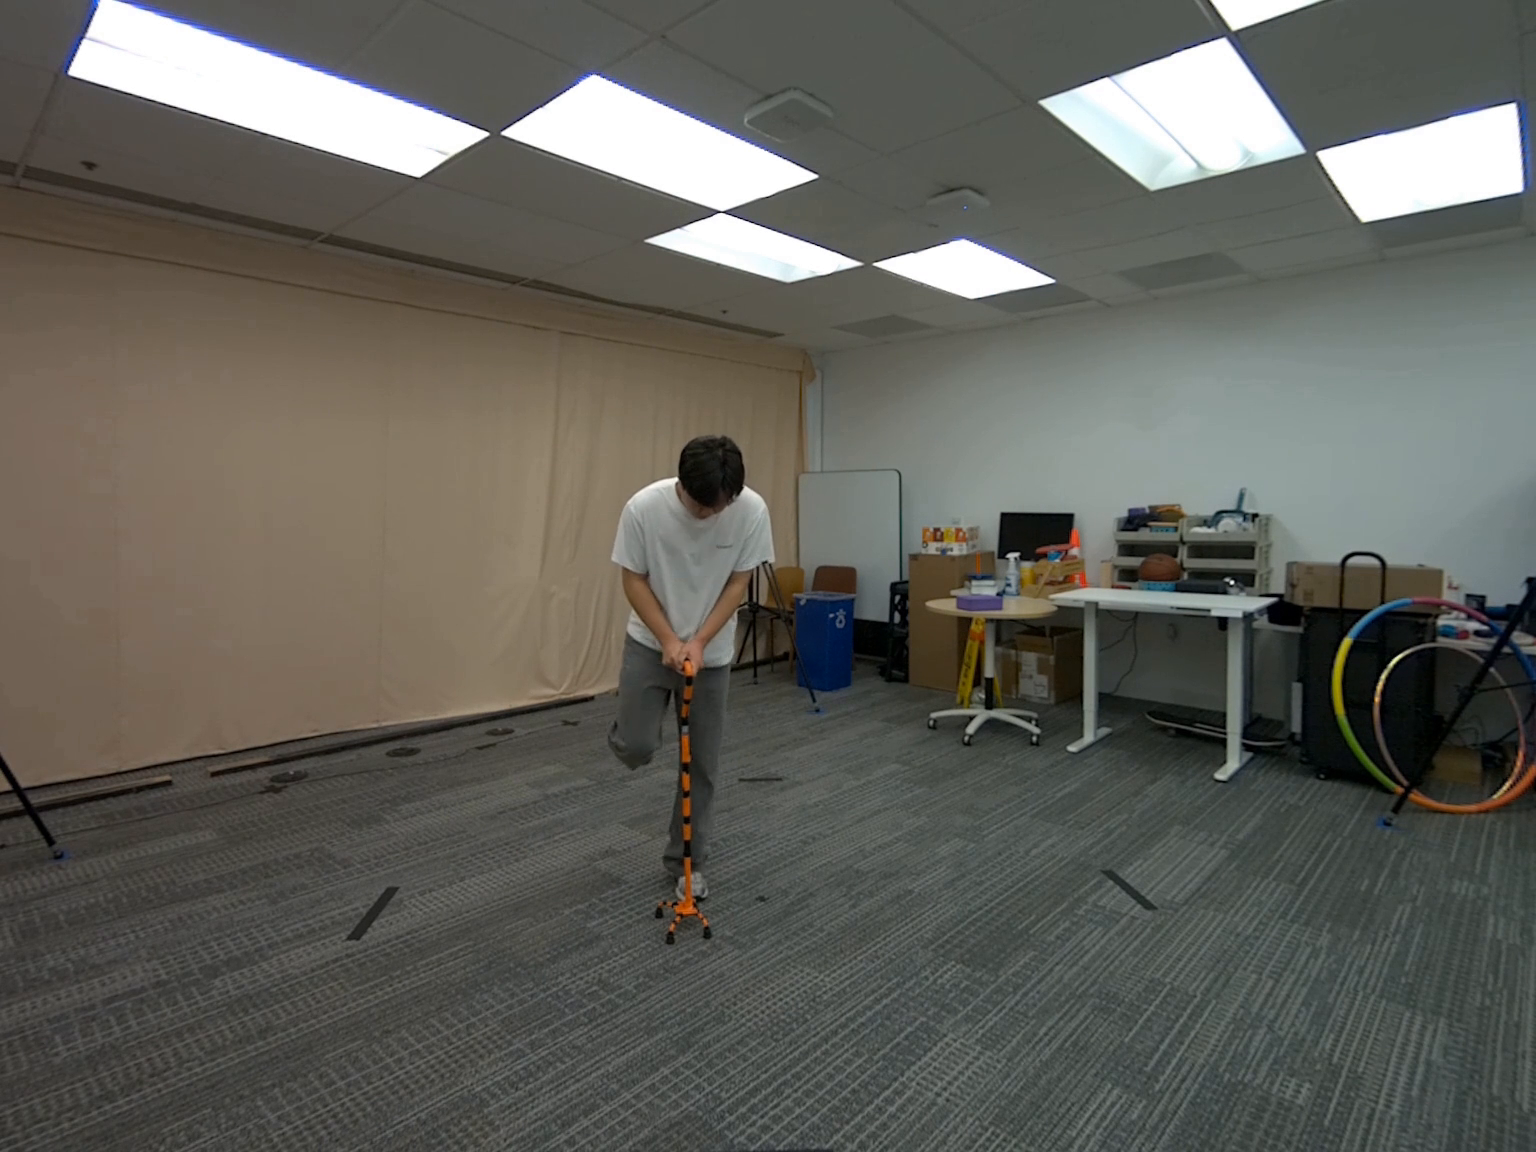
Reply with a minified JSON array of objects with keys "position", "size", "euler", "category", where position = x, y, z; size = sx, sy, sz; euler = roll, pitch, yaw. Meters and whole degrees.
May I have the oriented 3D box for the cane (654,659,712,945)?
[{"position":[-0.285,0.710,2.769],"size":[0.149,0.906,0.211],"euler":[-1,3,-20],"category":"cane"}]
